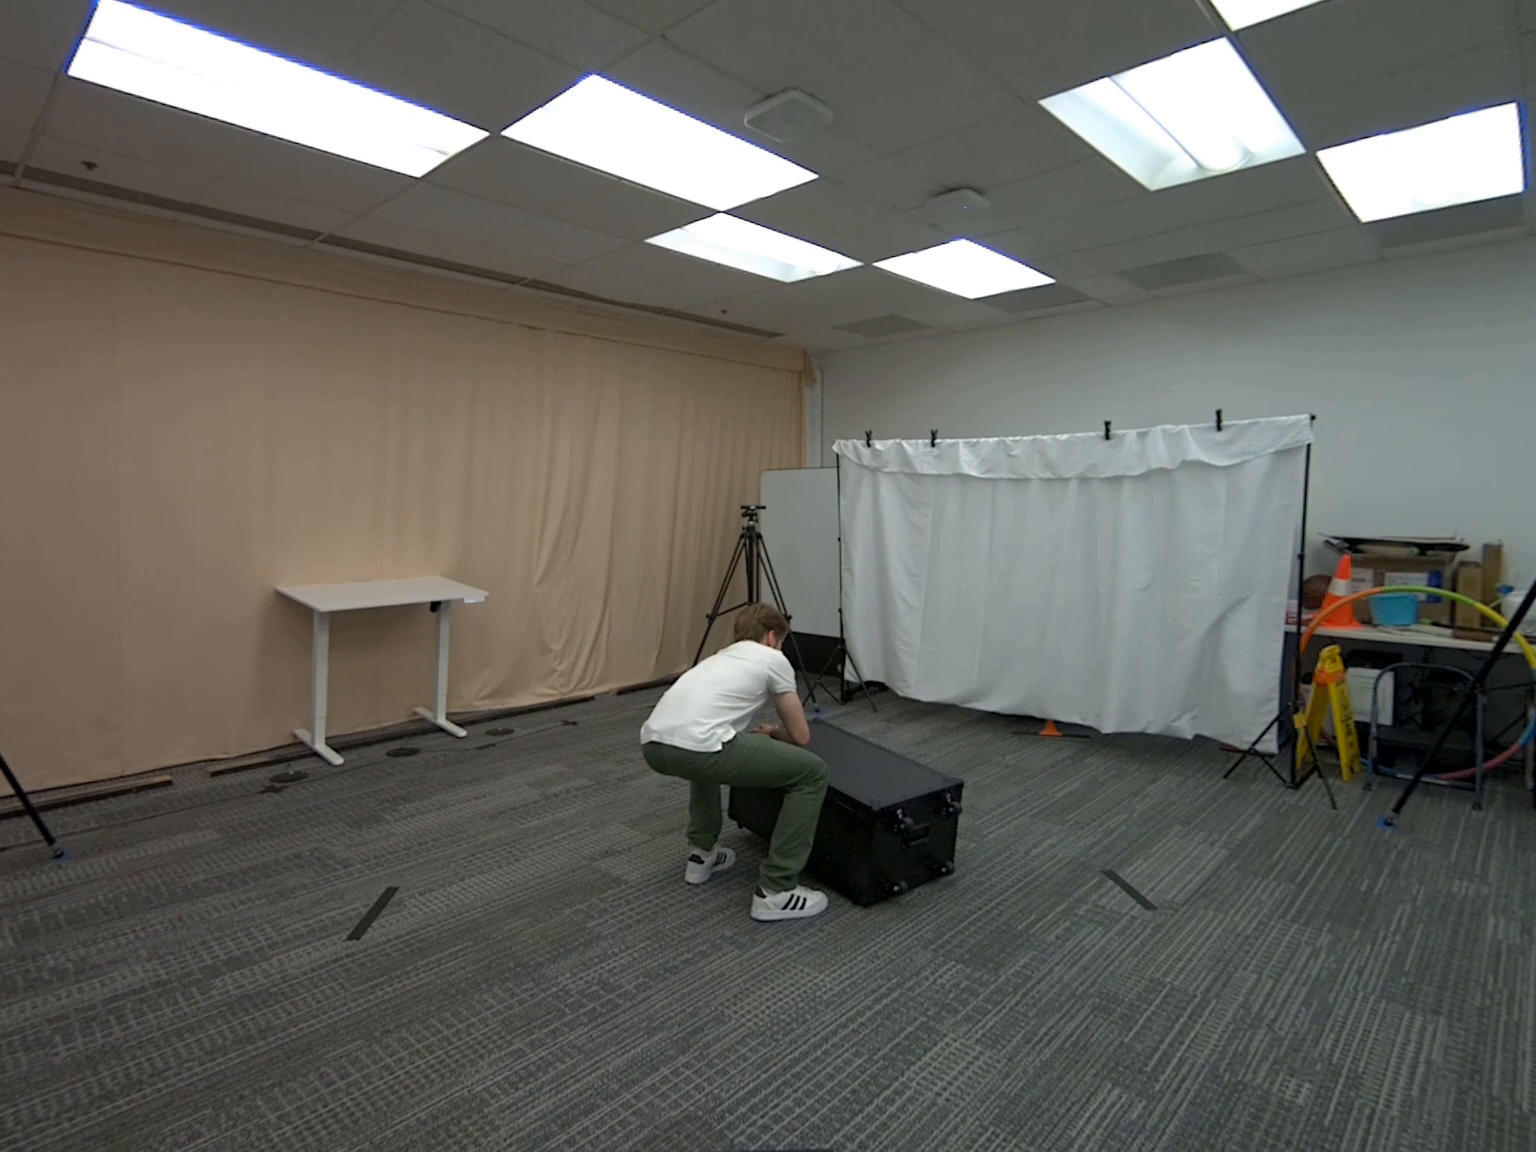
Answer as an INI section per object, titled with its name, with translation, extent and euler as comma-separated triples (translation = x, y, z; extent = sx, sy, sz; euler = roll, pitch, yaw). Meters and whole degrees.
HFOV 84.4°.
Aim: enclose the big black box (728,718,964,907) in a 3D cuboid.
[big black box]
translation = 0.304, 0.895, 3.284
extent = 0.507, 0.384, 0.899
euler = -1, 10, -38
